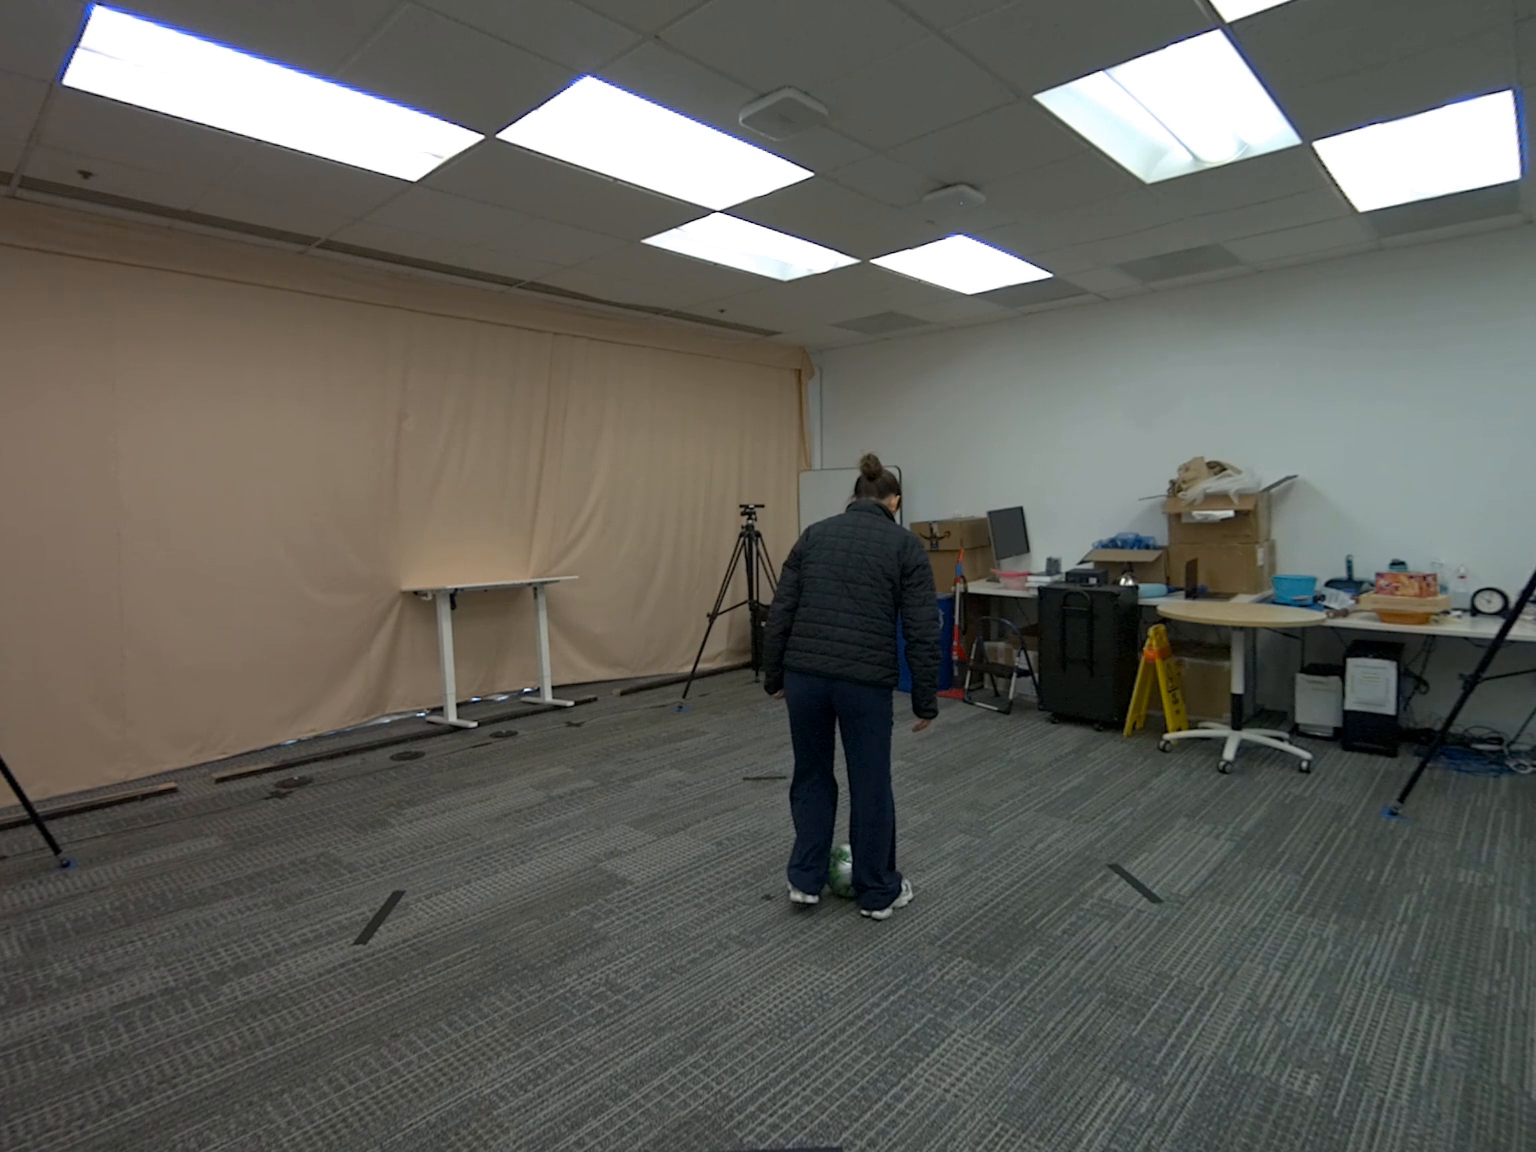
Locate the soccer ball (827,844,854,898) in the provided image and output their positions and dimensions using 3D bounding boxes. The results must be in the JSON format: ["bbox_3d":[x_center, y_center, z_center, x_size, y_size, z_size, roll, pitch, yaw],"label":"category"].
[{"bbox_3d":[0.292,1.044,2.990,0.187,0.187,0.188,-1,4,-2],"label":"soccer ball"}]
